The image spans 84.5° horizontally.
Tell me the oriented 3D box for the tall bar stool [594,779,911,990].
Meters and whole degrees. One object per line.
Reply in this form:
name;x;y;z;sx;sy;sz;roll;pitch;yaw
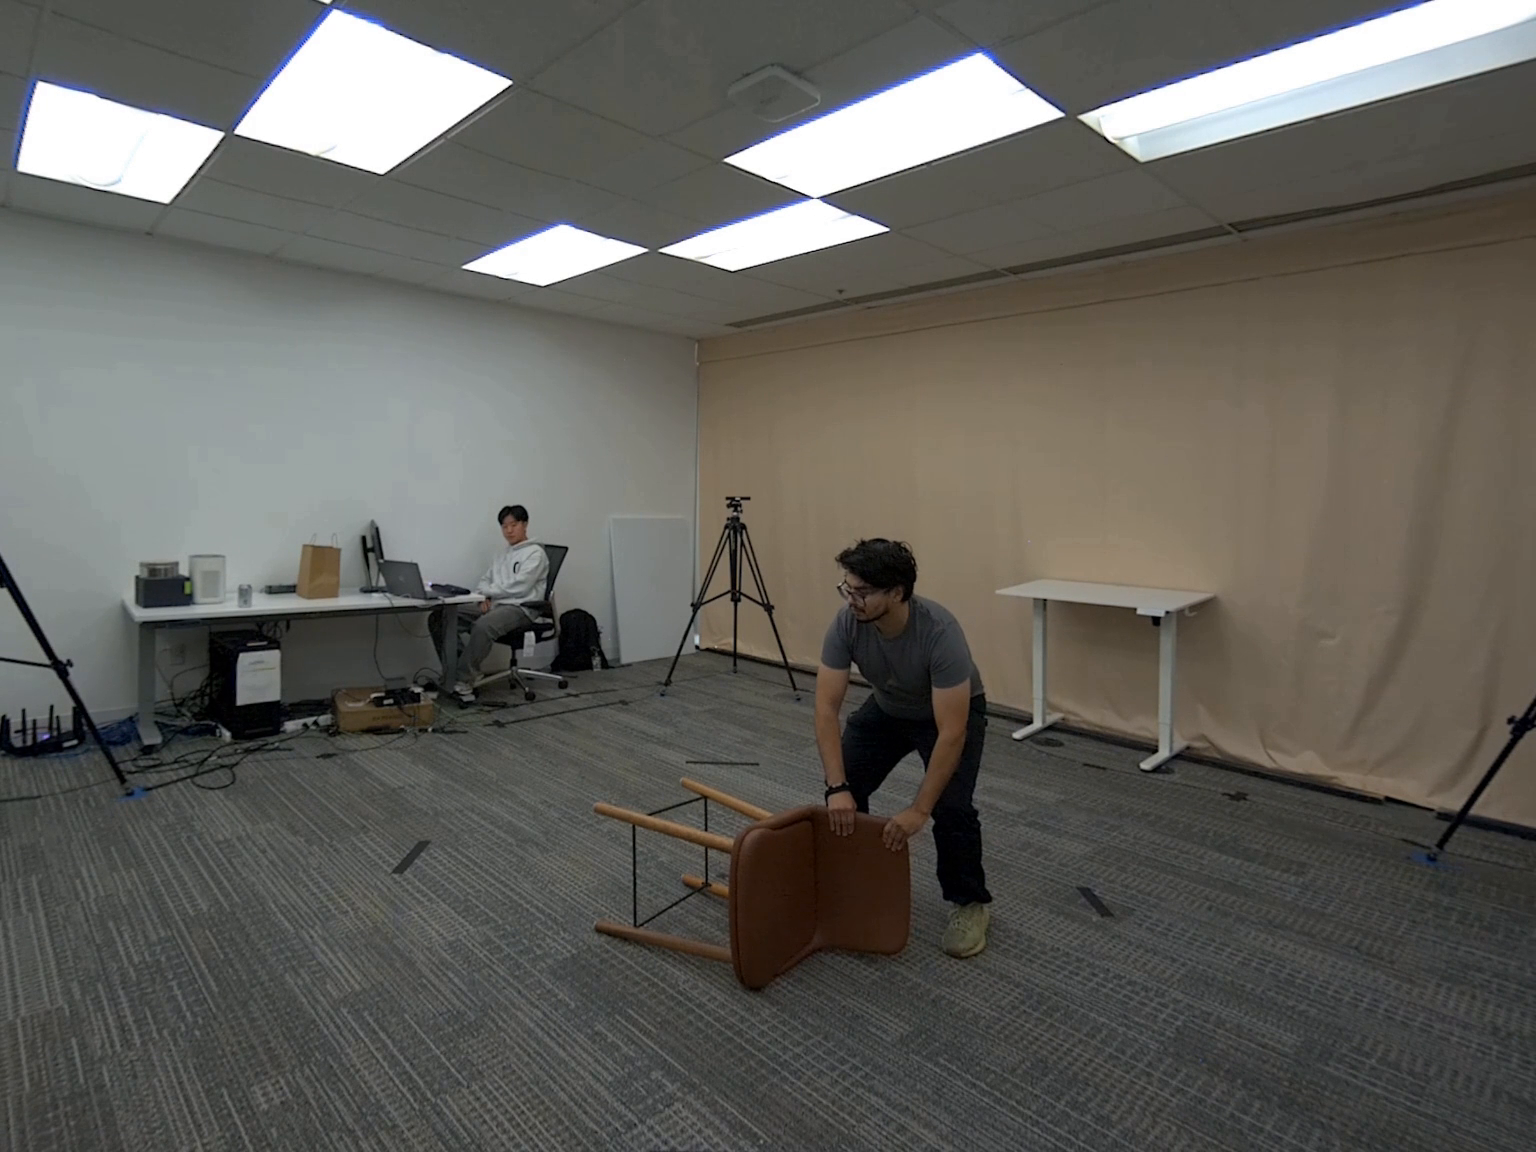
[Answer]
tall bar stool;-0.076;0.936;2.603;0.910;0.456;0.457;2;2;35
